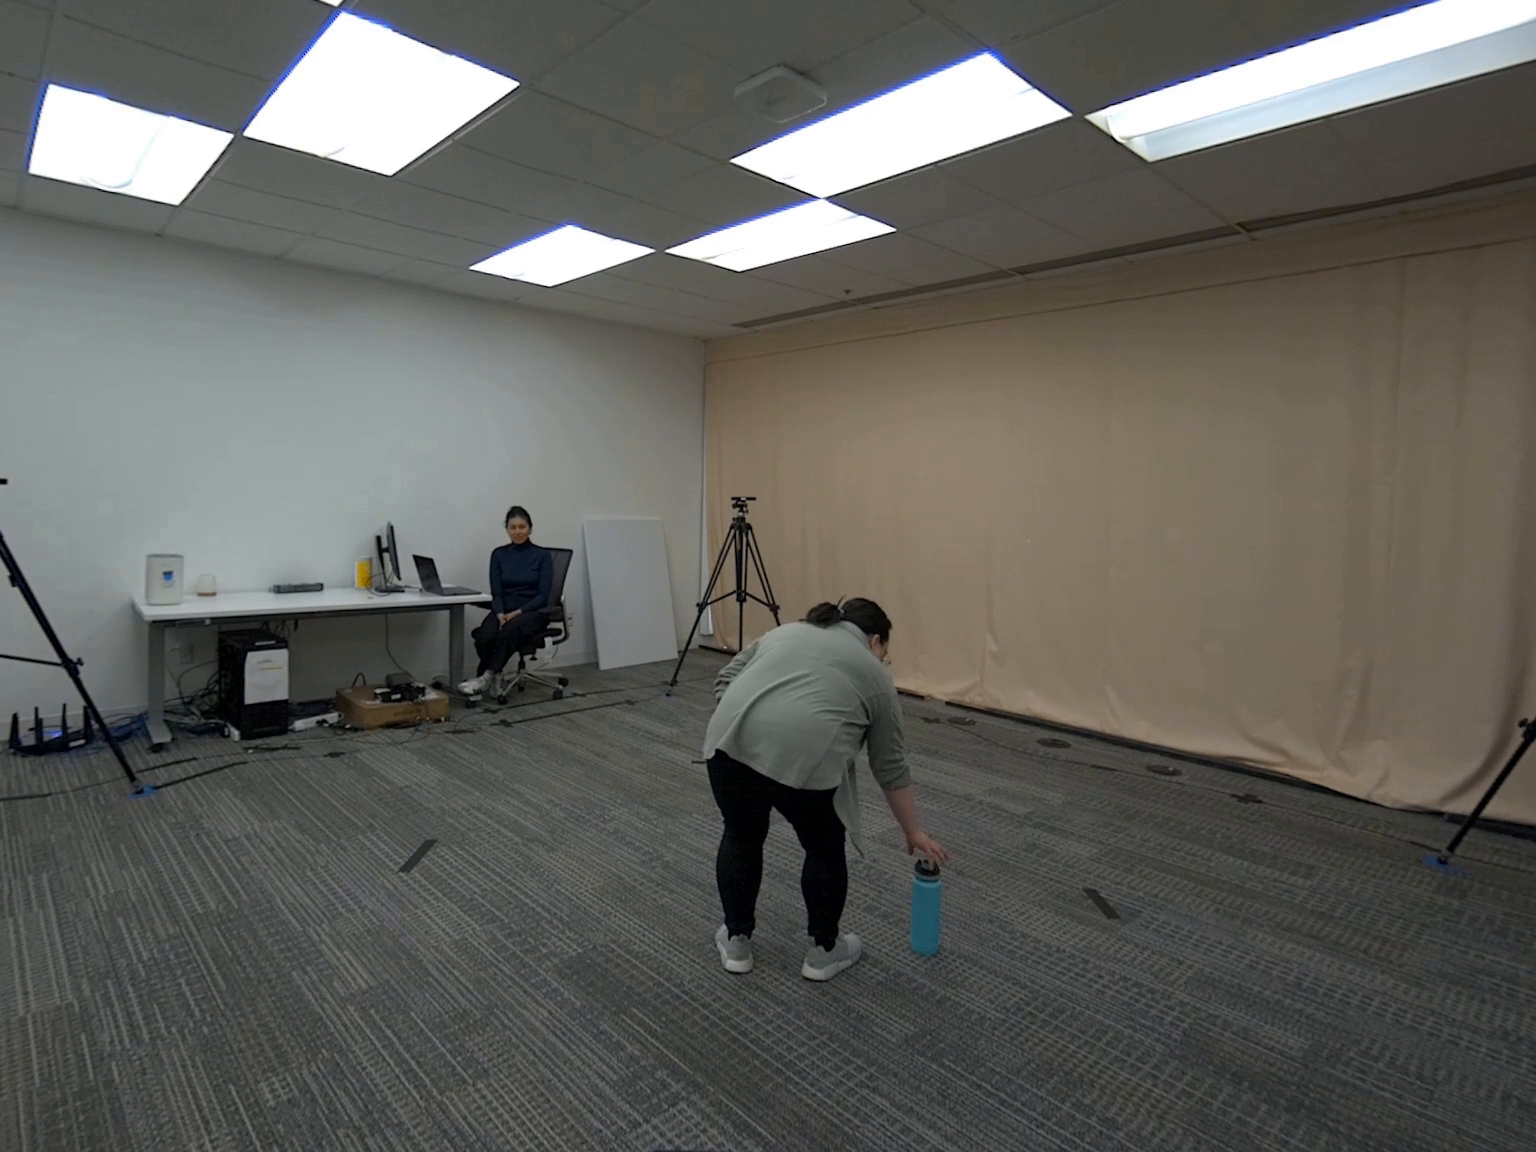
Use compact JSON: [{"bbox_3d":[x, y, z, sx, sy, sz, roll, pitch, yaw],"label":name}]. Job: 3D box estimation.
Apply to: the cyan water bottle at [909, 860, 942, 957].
[{"bbox_3d":[0.485,1.029,2.623,0.092,0.283,0.092,1,3,-1],"label":"cyan water bottle"}]
